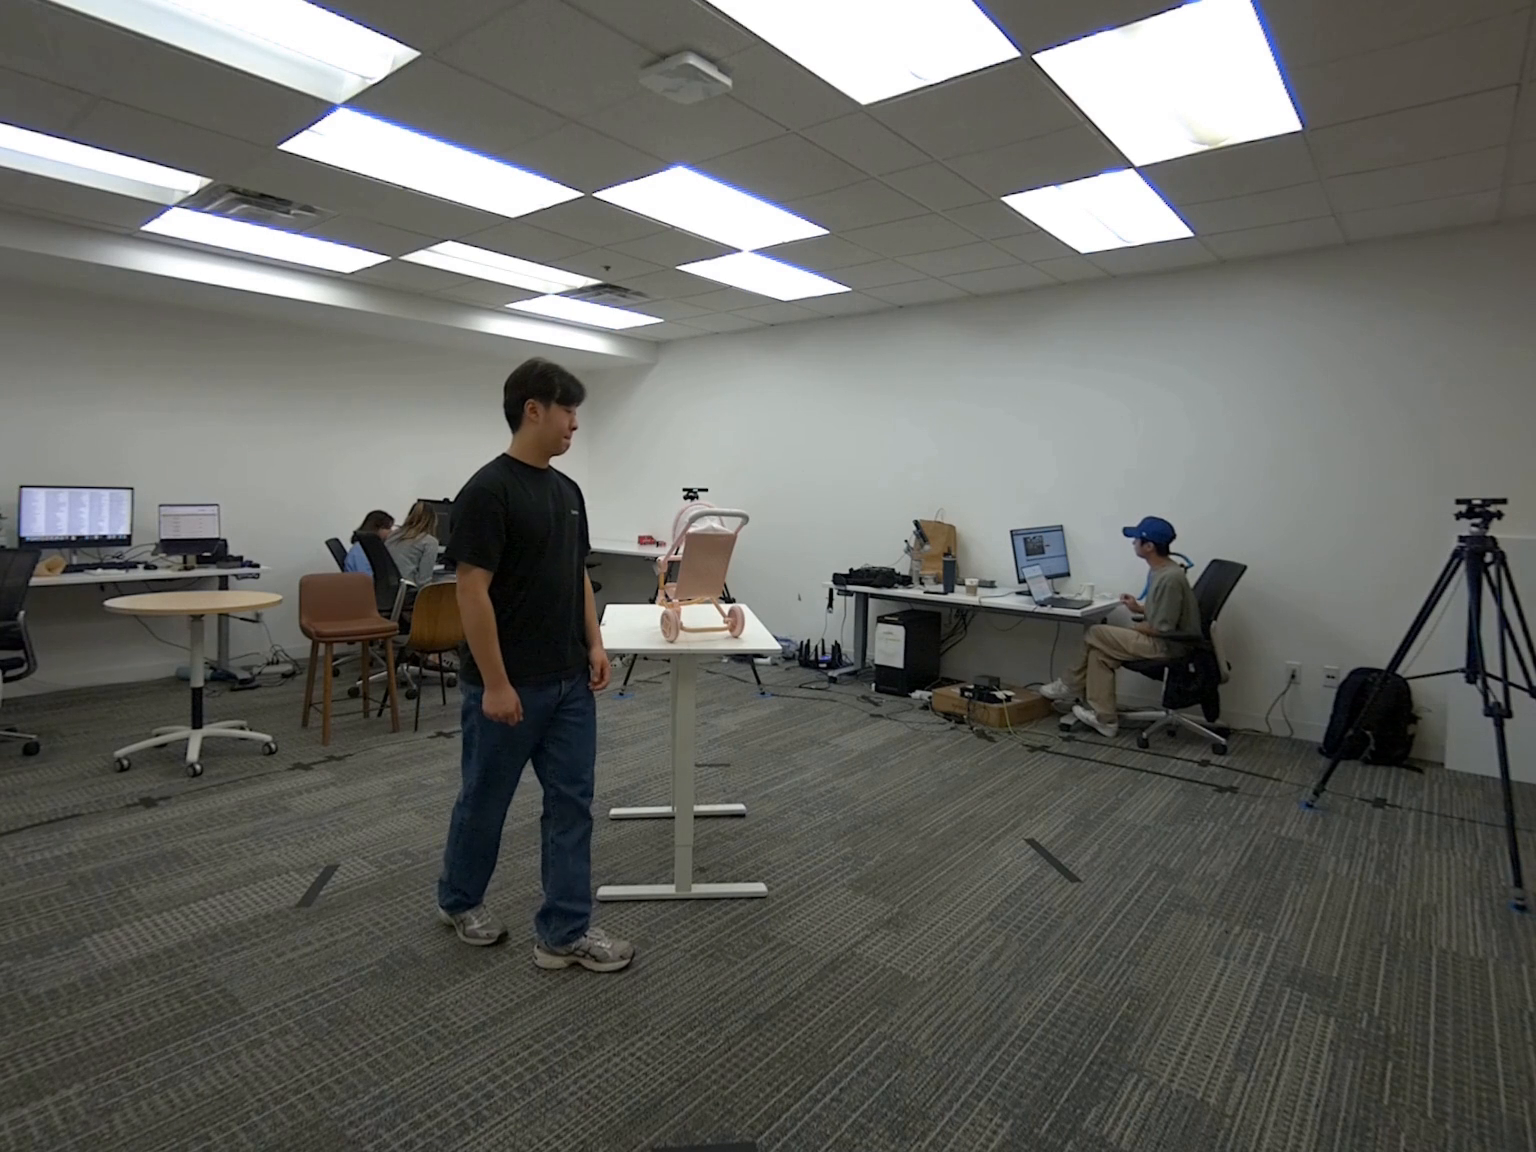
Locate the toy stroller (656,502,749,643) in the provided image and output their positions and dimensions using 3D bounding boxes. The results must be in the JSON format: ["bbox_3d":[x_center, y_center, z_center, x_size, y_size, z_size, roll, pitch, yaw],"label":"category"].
[{"bbox_3d":[-0.258,-0.021,2.927,0.275,0.528,0.354,1,18,-24],"label":"toy stroller"}]
